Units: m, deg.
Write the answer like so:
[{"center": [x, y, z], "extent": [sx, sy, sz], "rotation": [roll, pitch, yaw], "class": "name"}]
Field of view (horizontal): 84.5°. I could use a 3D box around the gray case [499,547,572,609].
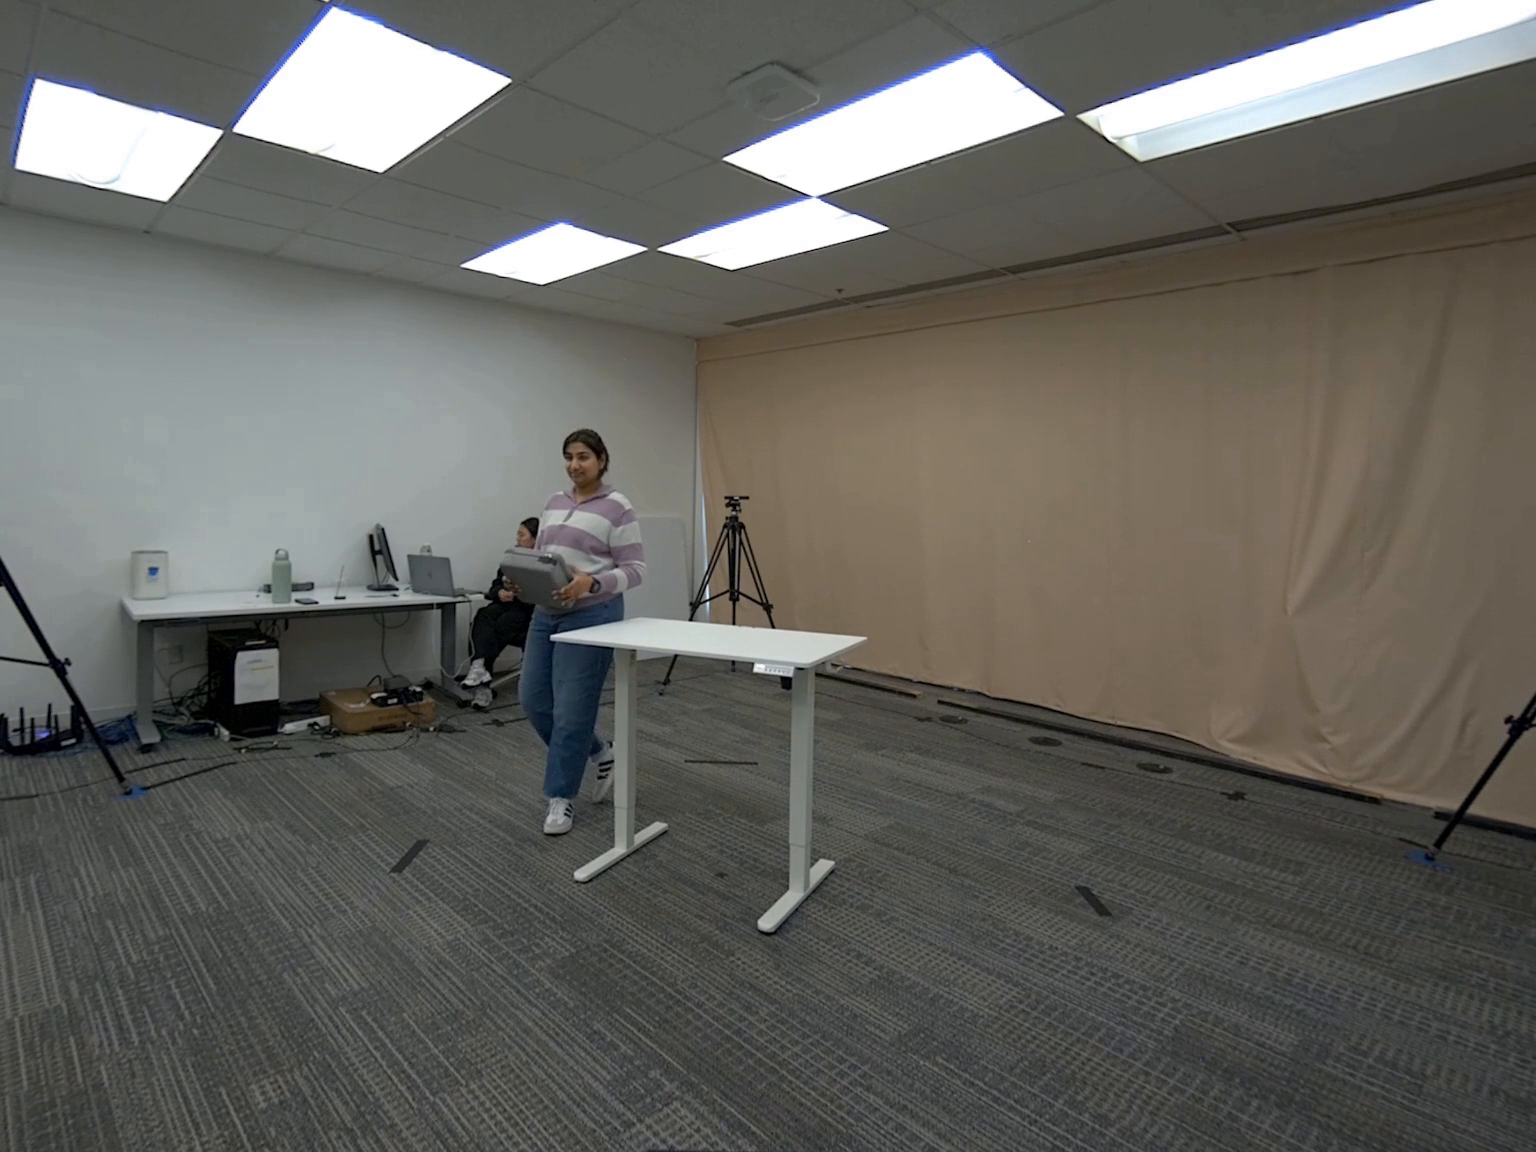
[{"center": [-0.917, 0.004, 3.301], "extent": [0.261, 0.105, 0.253], "rotation": [6, -38, 21], "class": "gray case"}]
